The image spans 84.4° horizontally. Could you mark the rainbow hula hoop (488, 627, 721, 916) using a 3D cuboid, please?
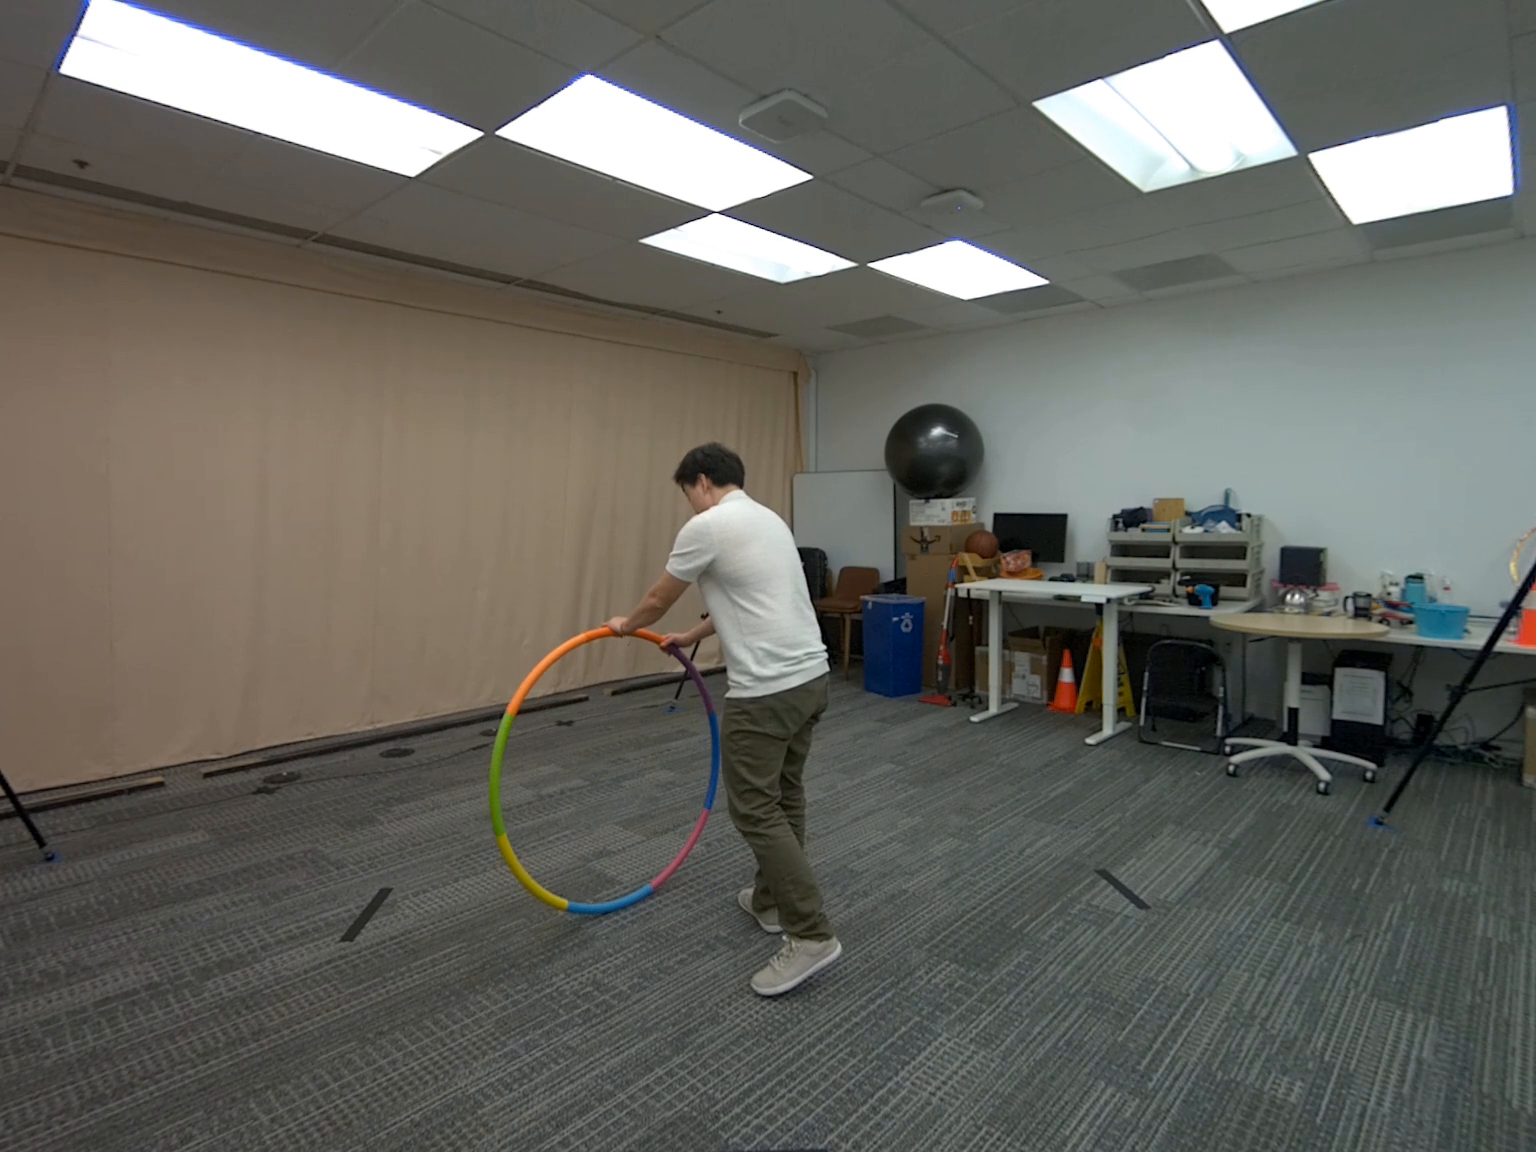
[{"bbox_3d":[-0.517,0.666,2.943,0.036,0.979,0.948,-4,0,44],"label":"rainbow hula hoop"}]
